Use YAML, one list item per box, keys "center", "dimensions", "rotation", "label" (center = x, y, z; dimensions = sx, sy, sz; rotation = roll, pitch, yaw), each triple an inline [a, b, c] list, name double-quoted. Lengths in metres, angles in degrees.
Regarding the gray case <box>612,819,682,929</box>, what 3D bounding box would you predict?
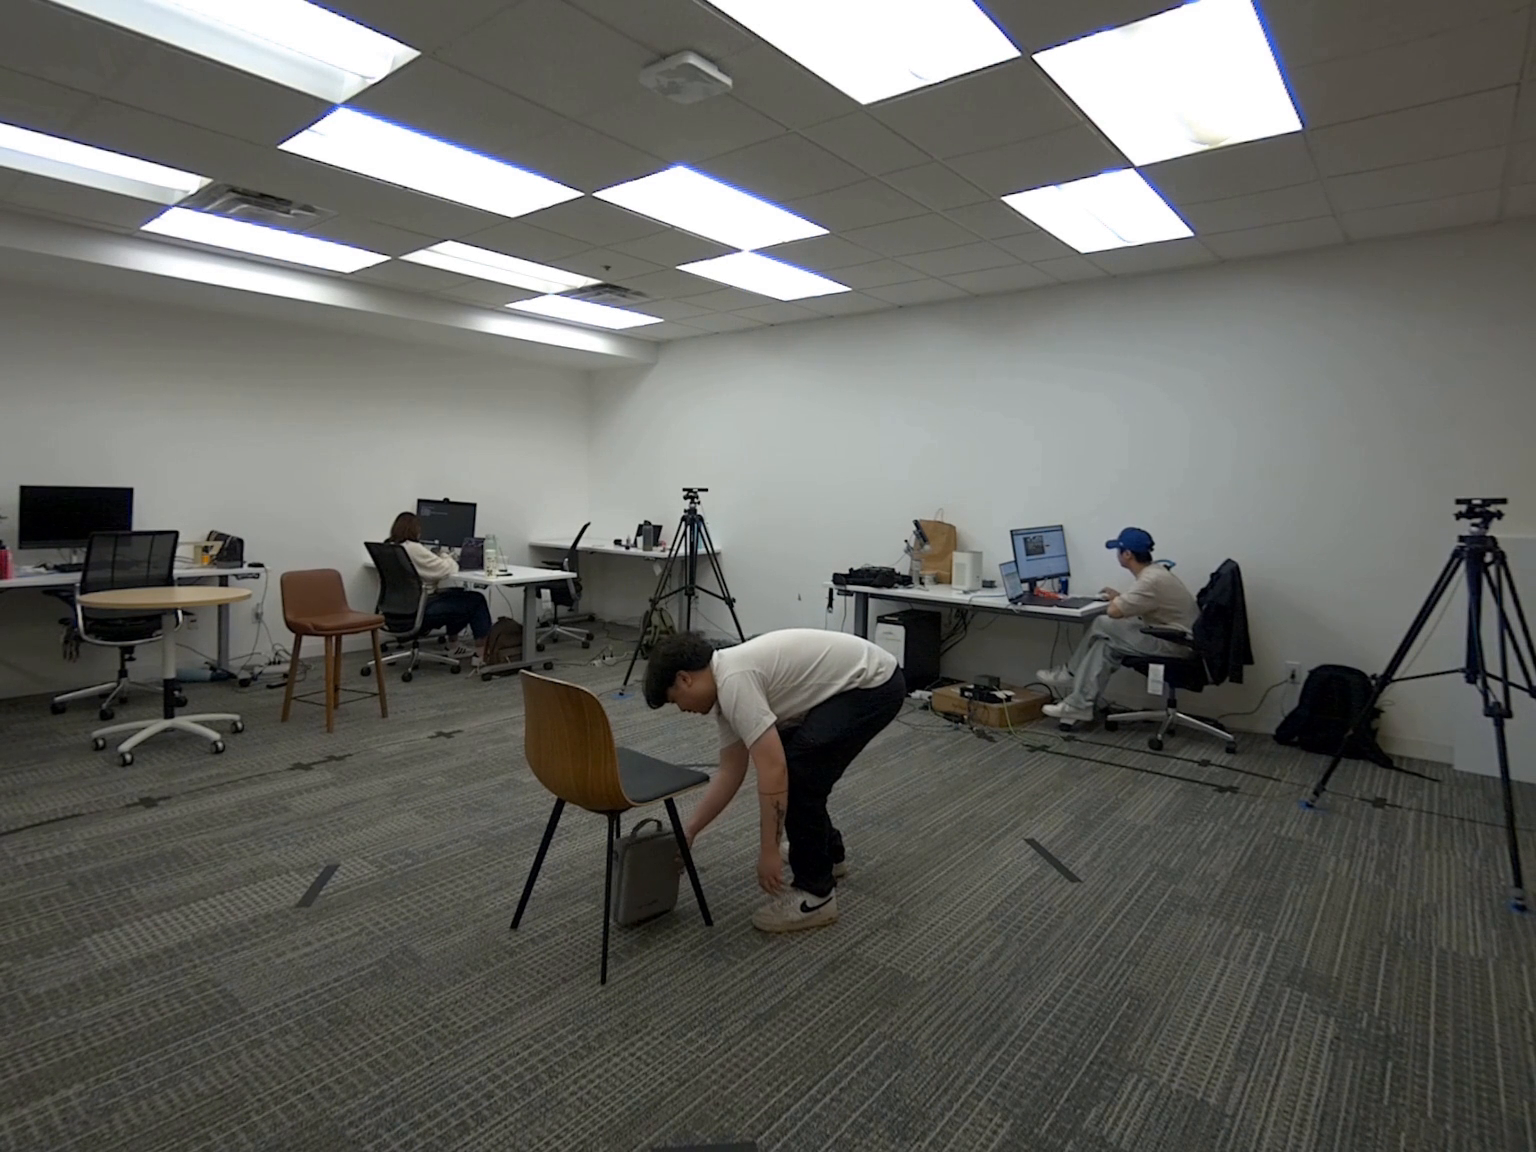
- center: [-0.407, 0.958, 2.748]
  dimensions: [0.108, 0.260, 0.248]
  rotation: [3, 1, 41]
  label: "gray case"
